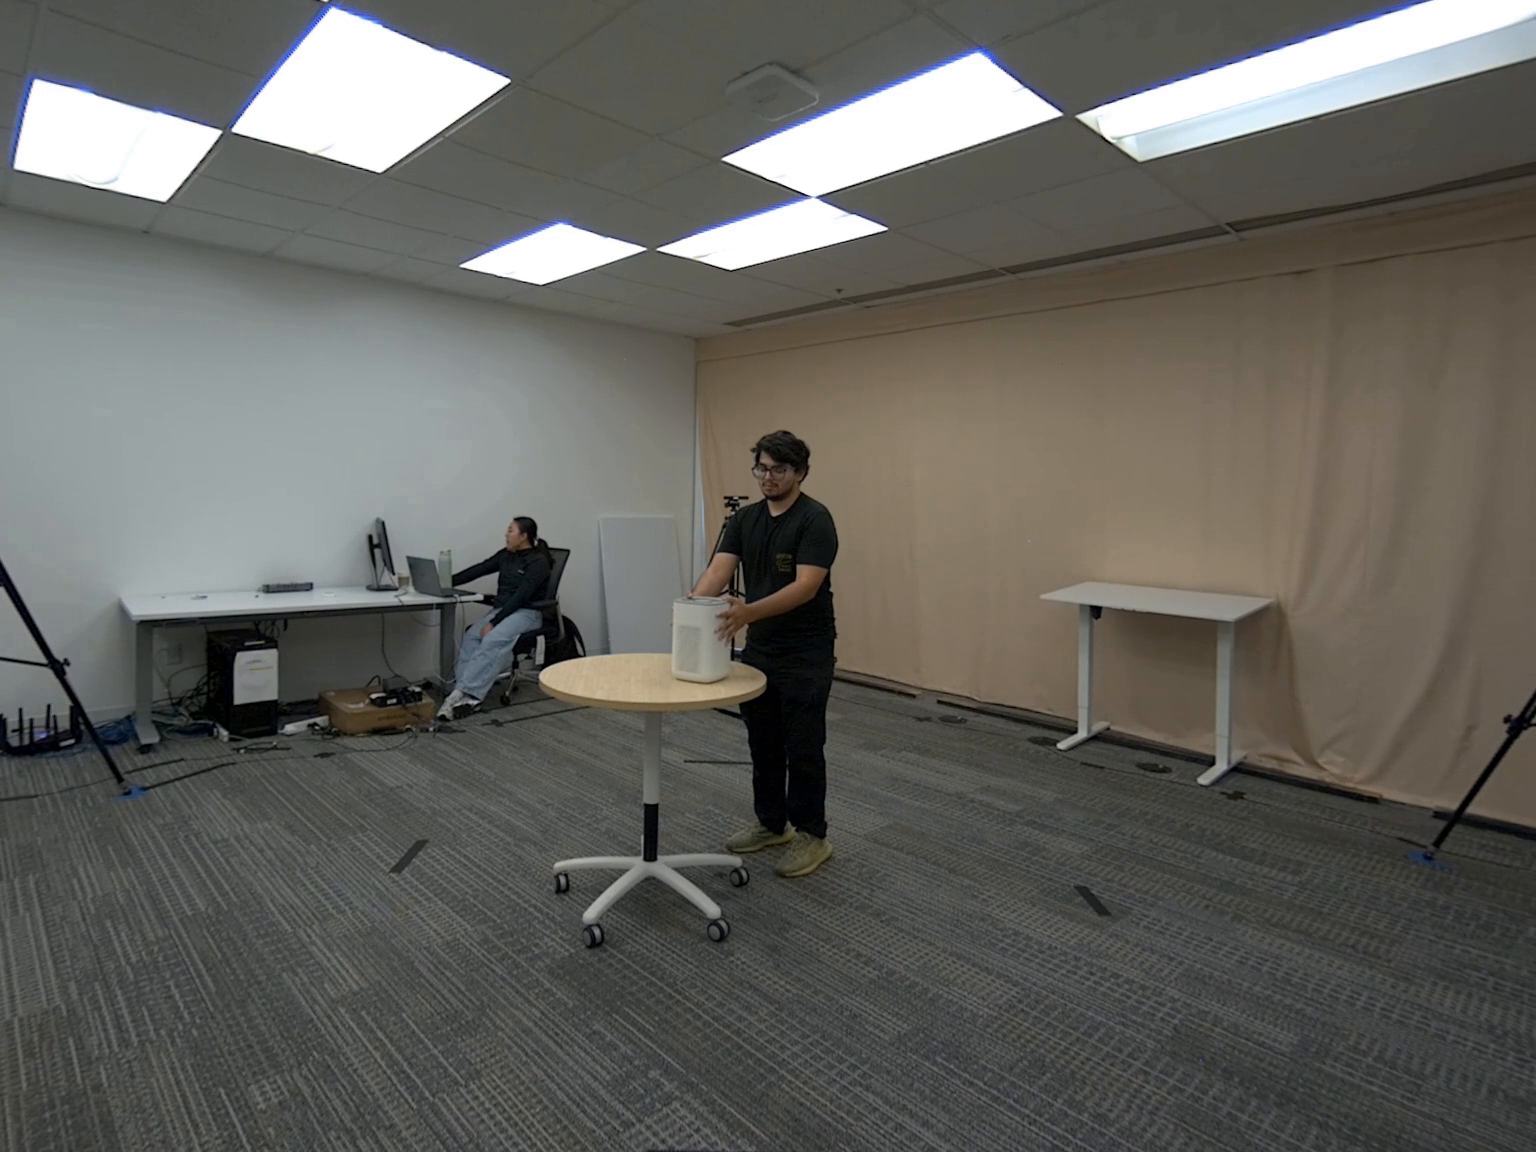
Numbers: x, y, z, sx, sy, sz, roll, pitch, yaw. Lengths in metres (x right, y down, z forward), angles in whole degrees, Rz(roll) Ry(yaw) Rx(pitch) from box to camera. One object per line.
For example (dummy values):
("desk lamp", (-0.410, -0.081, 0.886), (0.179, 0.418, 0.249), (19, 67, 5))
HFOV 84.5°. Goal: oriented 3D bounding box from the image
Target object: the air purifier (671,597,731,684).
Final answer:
("air purifier", (-0.226, 0.211, 2.821), (0.175, 0.265, 0.168), (4, 4, 28))
